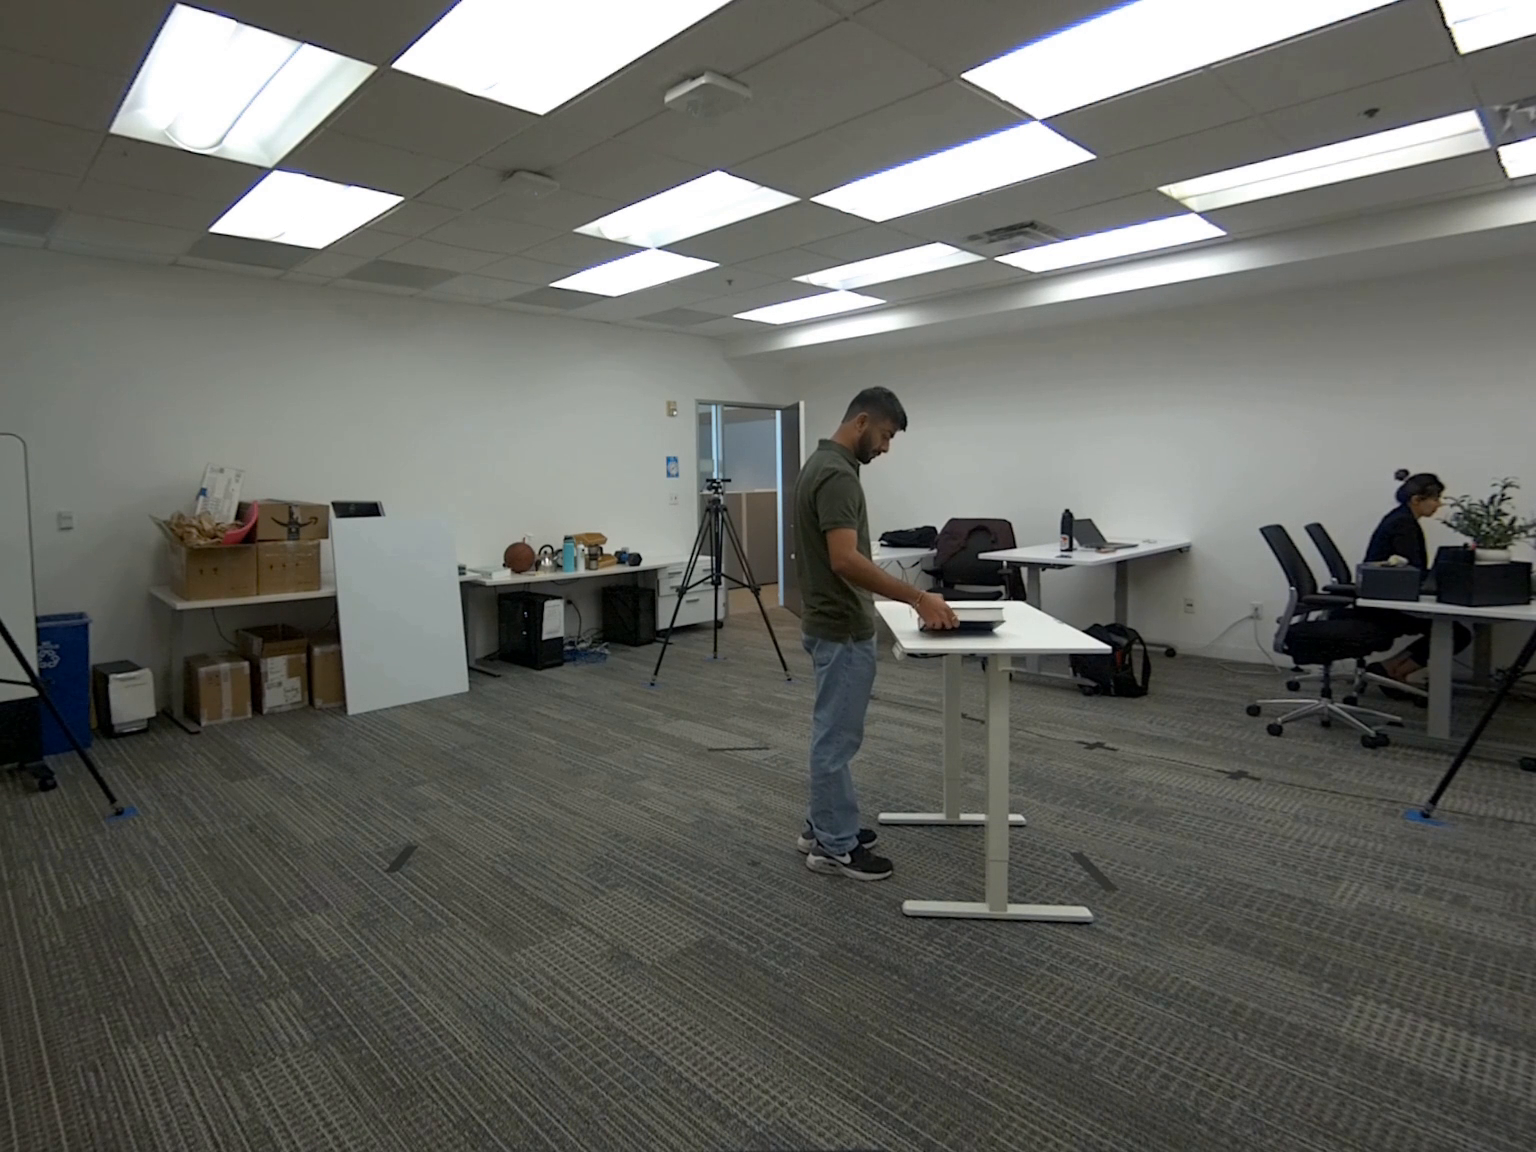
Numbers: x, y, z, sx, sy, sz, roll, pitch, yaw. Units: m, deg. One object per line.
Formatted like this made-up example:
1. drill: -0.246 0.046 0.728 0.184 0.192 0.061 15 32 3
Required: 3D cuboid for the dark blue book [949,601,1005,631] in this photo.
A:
1. dark blue book: 0.633 0.142 2.758 0.246 0.046 0.161 0 -13 4
